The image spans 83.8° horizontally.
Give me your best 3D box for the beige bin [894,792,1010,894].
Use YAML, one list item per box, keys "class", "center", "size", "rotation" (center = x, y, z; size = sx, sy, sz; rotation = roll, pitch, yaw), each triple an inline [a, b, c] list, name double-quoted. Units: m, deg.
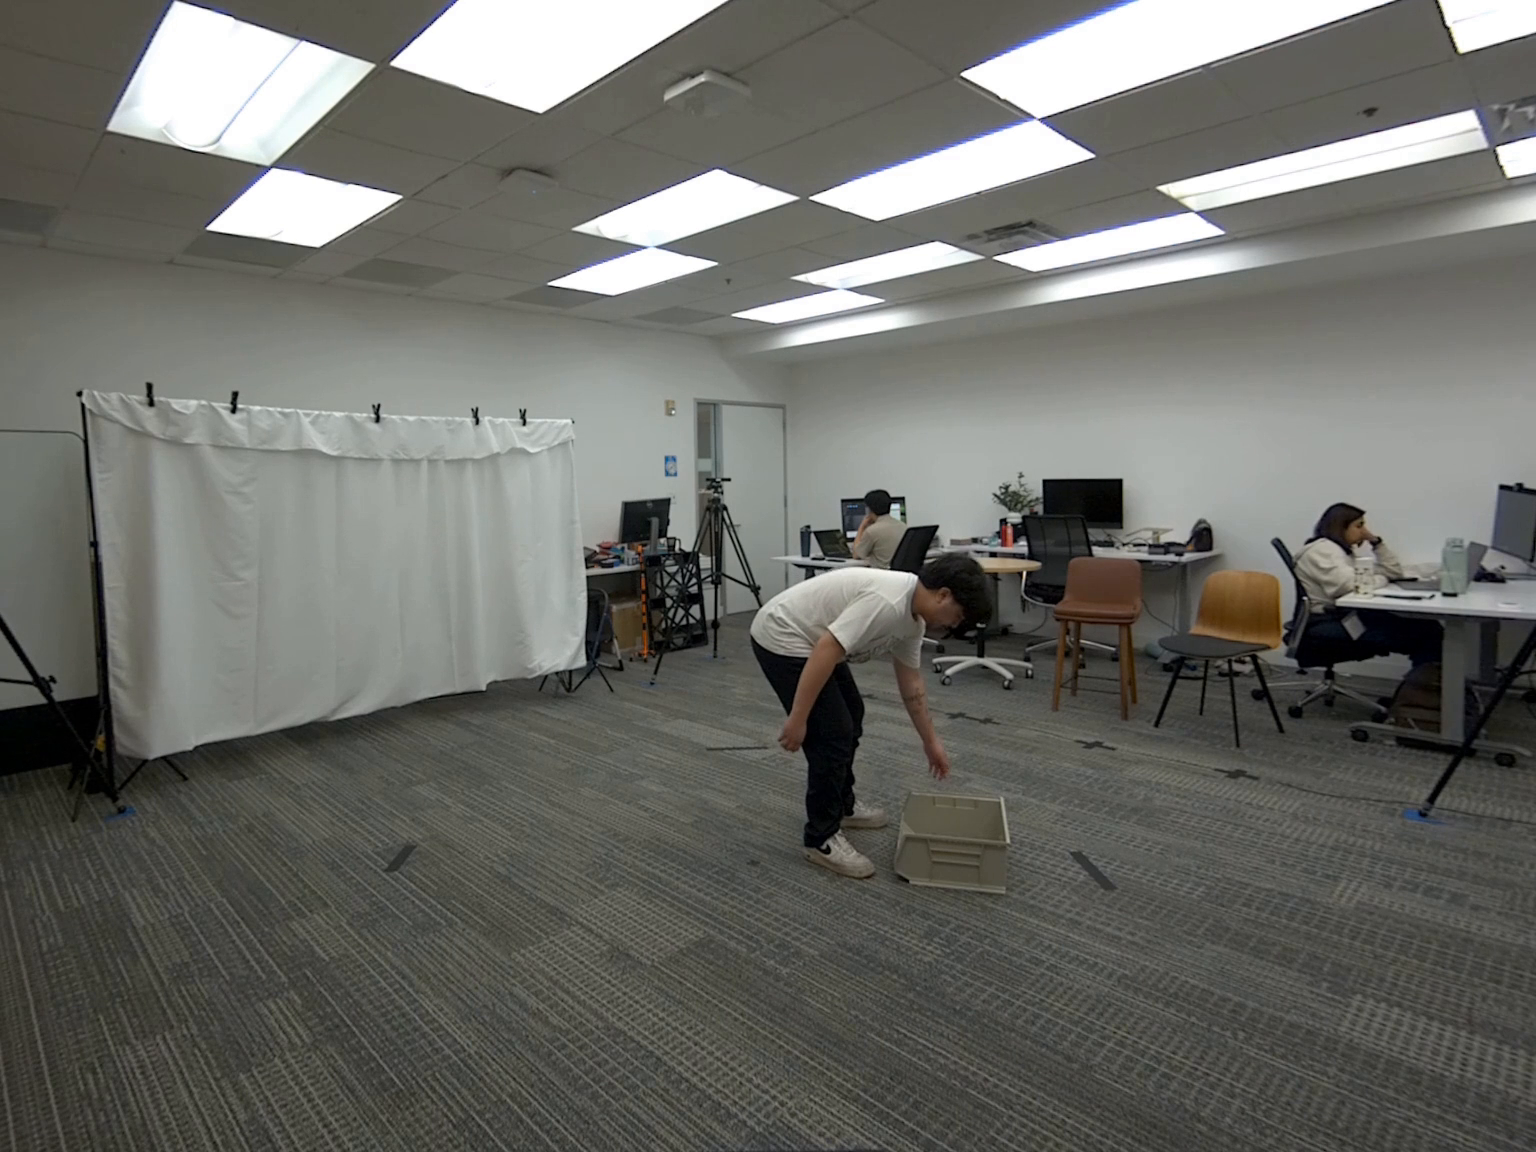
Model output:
- class: "beige bin"
  center: [0.660, 0.945, 3.075]
  size: [0.382, 0.188, 0.418]
  rotation: [1, 6, 13]
